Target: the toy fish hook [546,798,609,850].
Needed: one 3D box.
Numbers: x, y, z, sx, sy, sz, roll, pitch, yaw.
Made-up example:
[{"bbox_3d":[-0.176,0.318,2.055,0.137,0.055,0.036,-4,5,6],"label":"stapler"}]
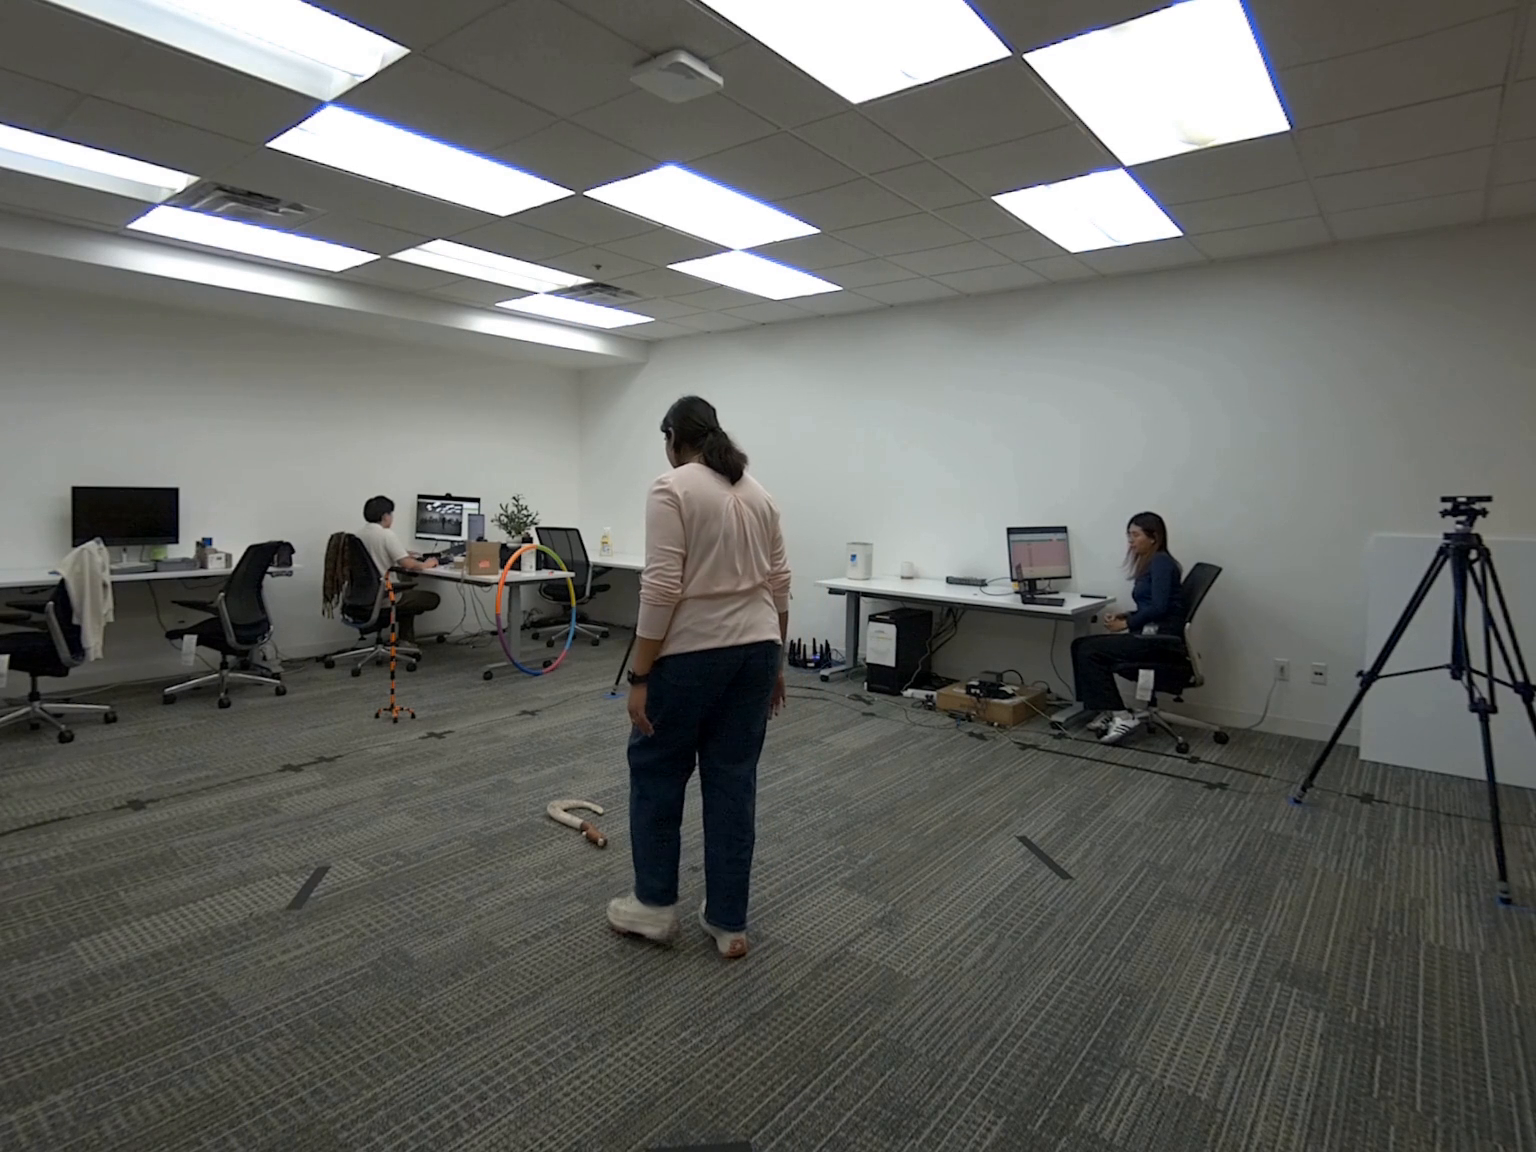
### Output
[{"bbox_3d":[-0.750,0.998,3.490,0.218,0.048,0.523,-3,7,-36],"label":"toy fish hook"}]
